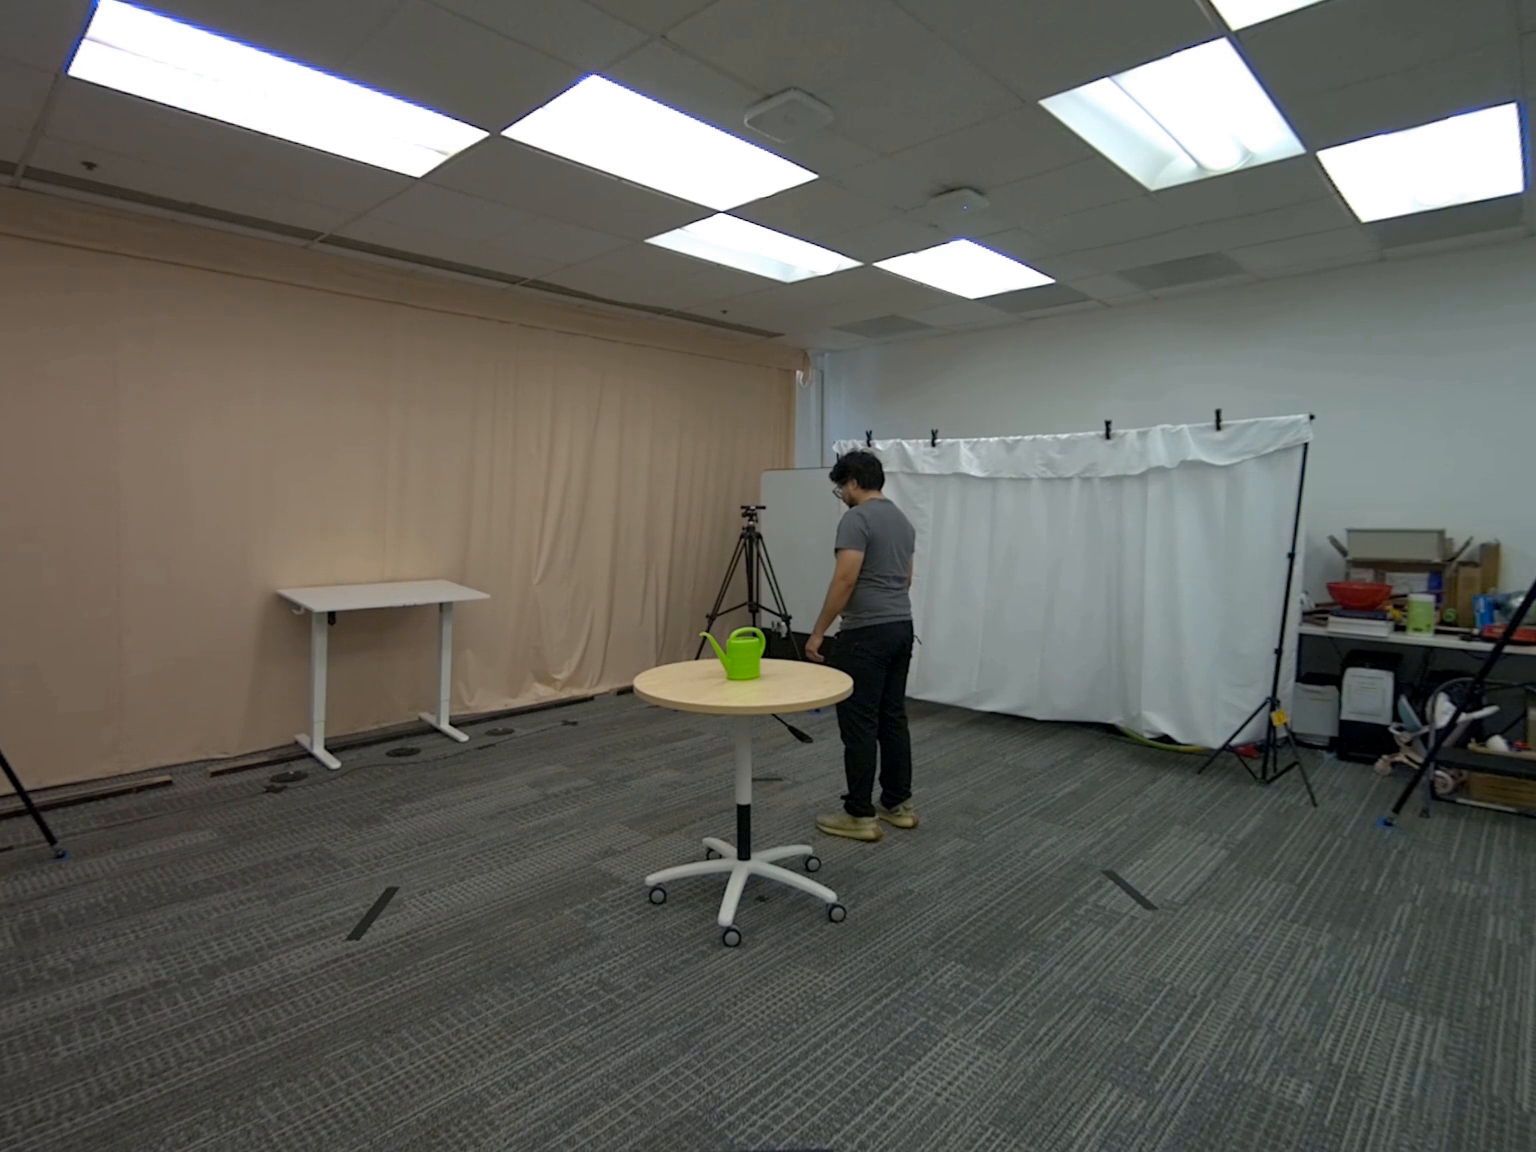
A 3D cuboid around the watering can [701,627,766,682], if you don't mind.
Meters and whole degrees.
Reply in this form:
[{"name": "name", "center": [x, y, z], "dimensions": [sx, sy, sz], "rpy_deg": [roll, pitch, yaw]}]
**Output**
[{"name": "watering can", "center": [-0.122, 0.275, 2.962], "dimensions": [0.272, 0.176, 0.100], "rpy_deg": [-1, 3, -23]}]
